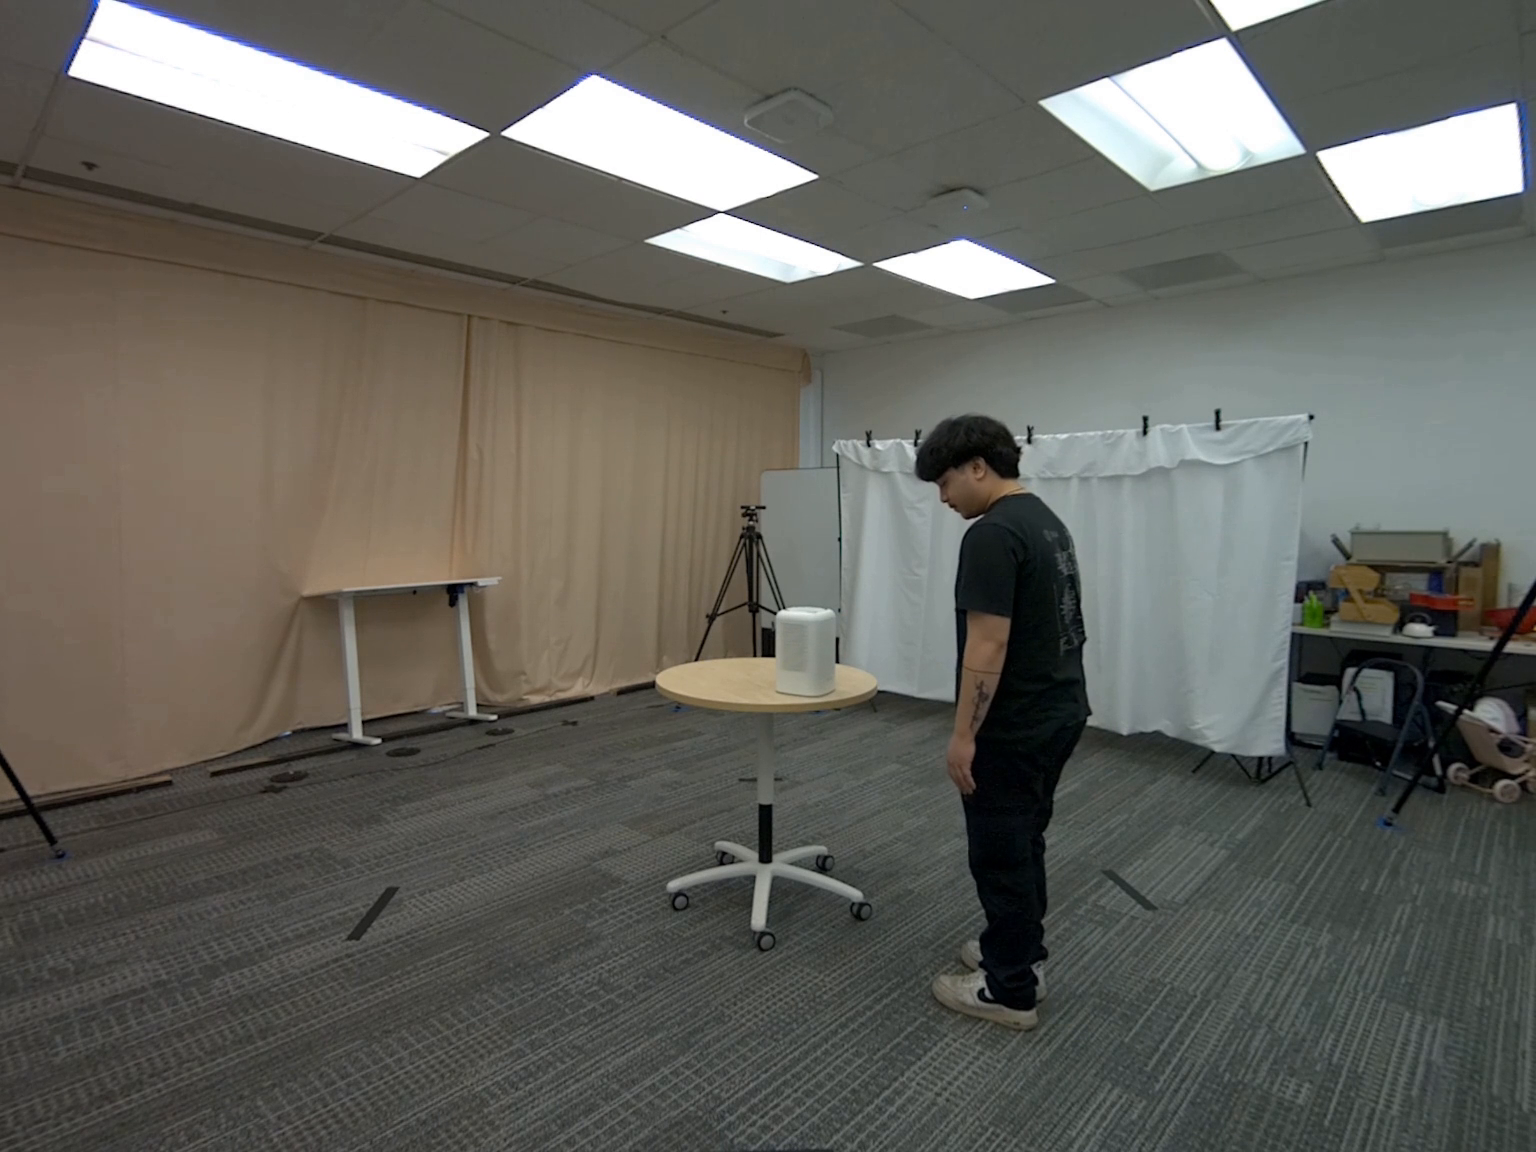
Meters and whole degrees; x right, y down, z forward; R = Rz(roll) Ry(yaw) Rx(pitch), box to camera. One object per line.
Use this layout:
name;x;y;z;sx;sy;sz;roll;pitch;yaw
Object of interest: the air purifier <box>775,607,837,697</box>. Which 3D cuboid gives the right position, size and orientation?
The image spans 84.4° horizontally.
air purifier;0.127;0.238;2.722;0.177;0.264;0.166;4;5;30
